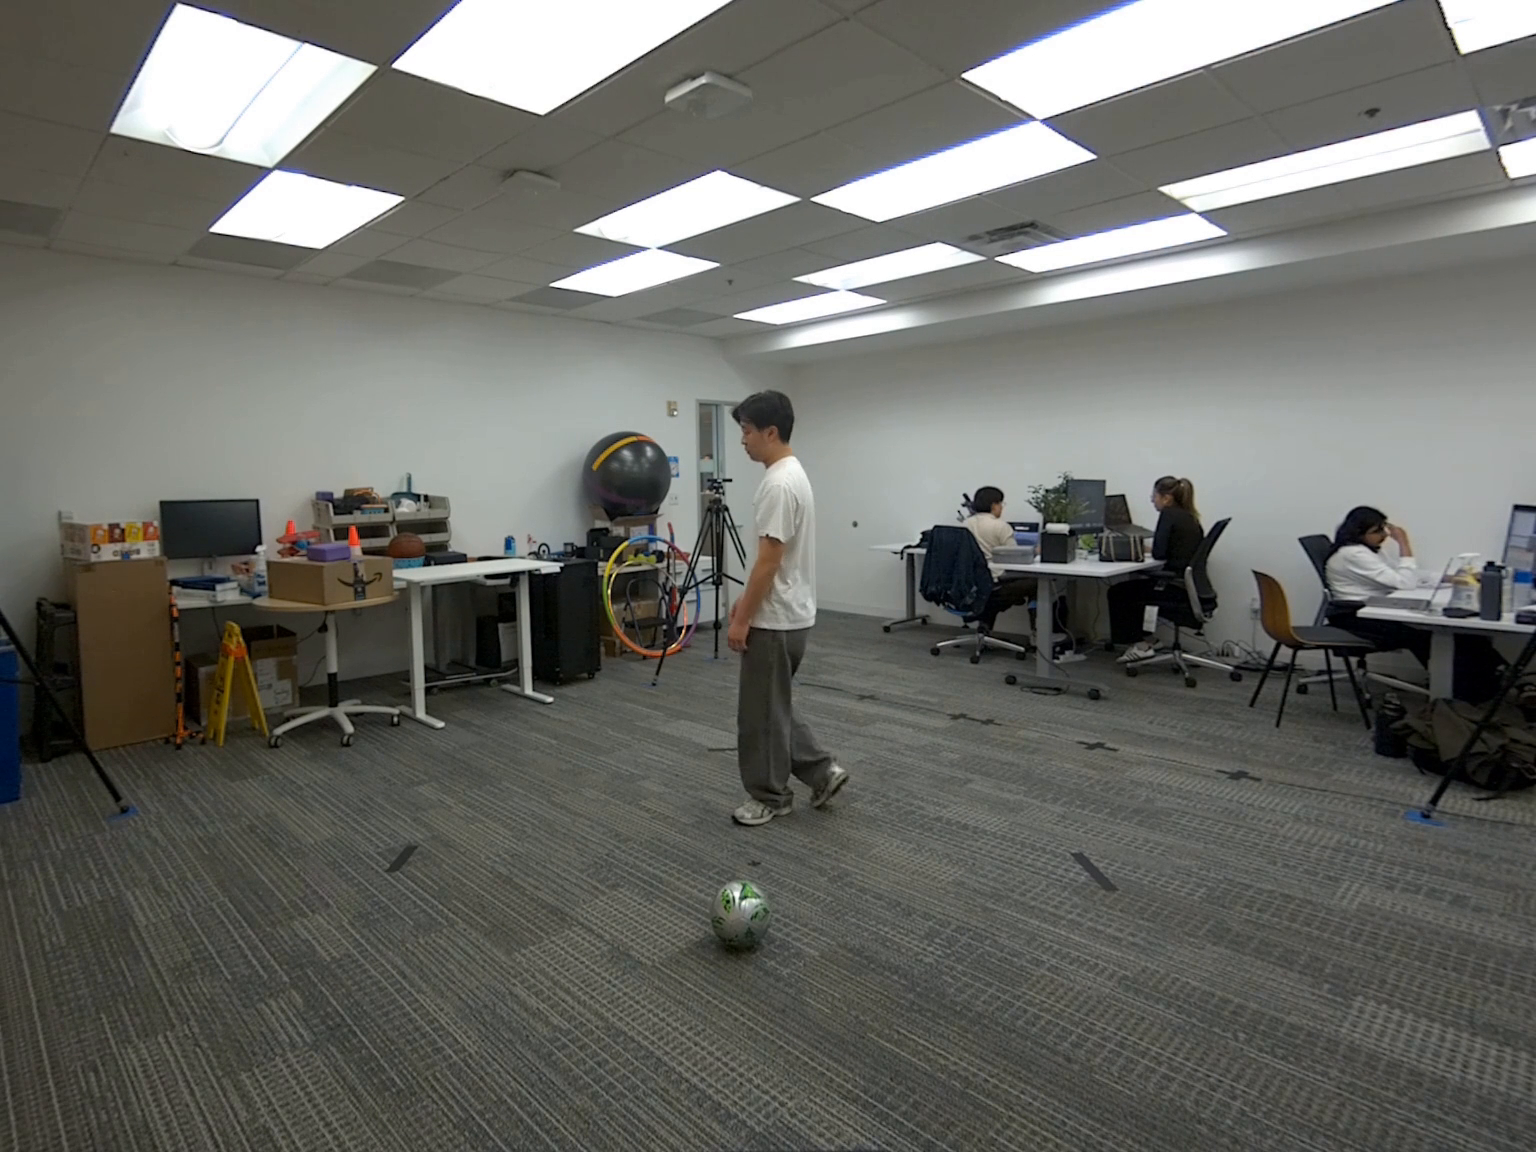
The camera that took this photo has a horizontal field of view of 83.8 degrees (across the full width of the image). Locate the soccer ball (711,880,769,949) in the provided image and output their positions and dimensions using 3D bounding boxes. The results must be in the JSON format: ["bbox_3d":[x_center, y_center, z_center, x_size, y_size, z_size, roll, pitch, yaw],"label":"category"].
[{"bbox_3d":[-0.076,1.020,2.573,0.187,0.187,0.188,-1,5,-2],"label":"soccer ball"}]
